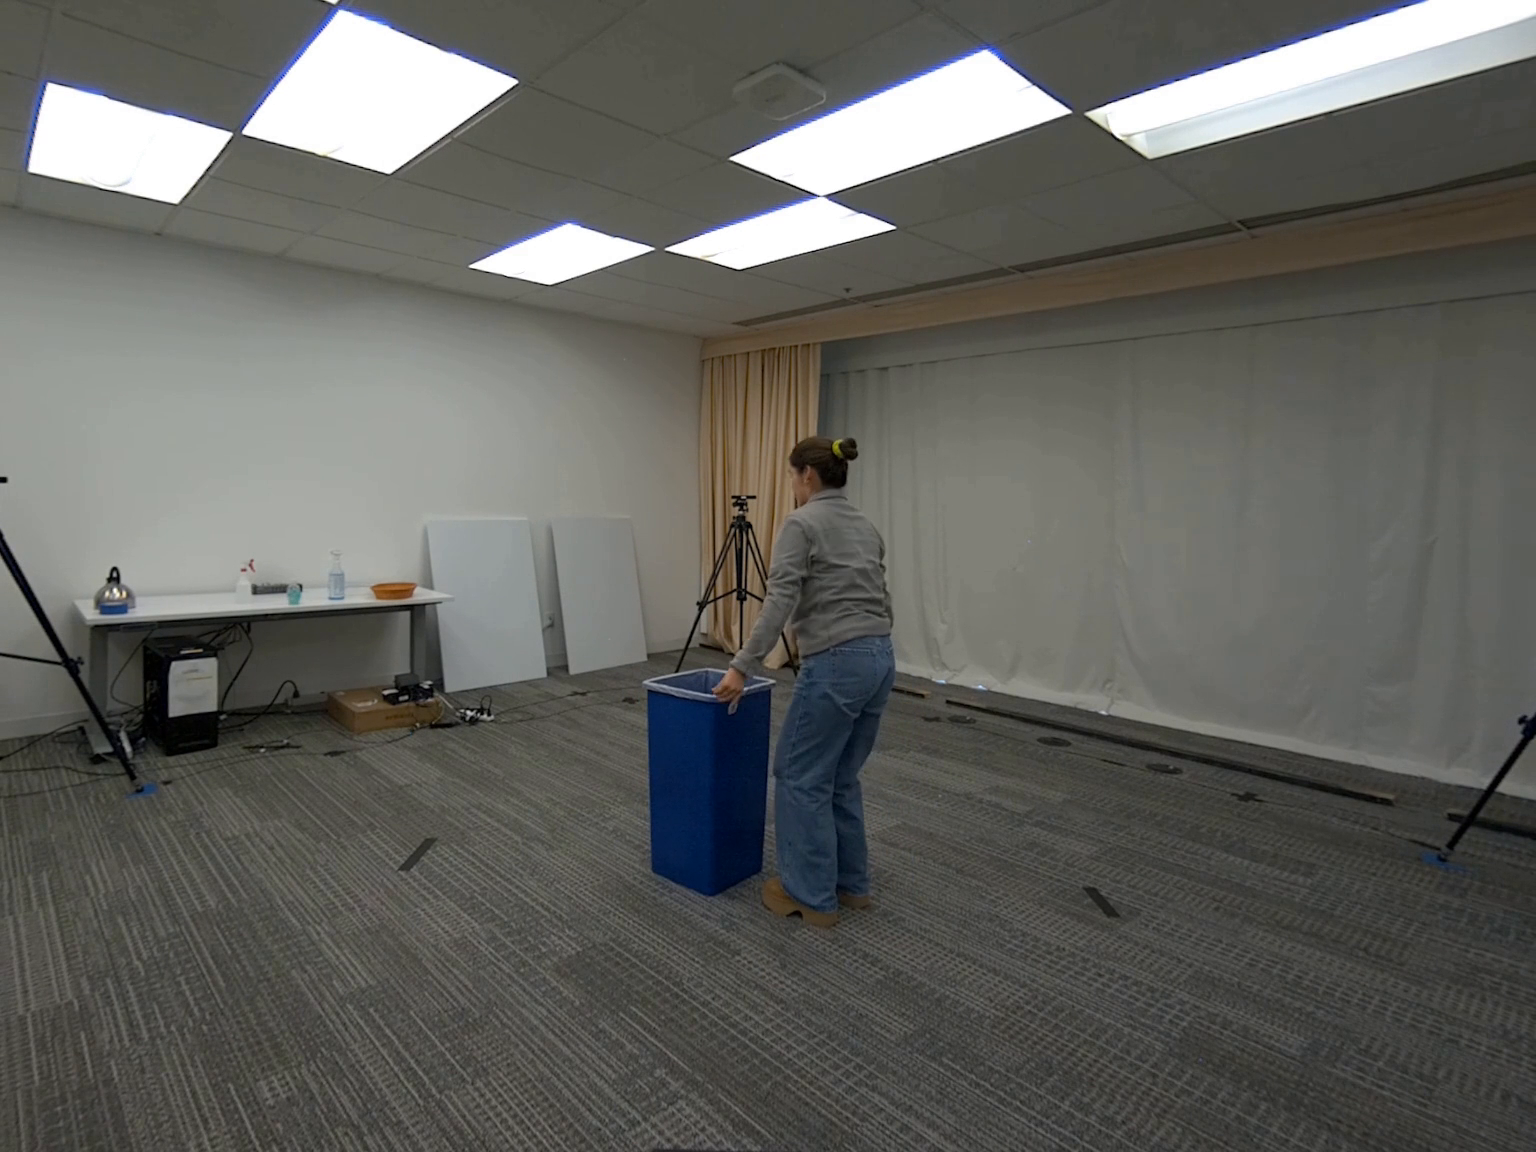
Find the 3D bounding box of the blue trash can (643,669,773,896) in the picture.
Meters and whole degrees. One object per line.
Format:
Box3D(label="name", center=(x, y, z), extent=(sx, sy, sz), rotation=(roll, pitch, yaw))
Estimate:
Box3D(label="blue trash can", center=(-0.231, 0.741, 3.113), extent=(0.383, 0.712, 0.370), rotation=(5, 5, 39))
